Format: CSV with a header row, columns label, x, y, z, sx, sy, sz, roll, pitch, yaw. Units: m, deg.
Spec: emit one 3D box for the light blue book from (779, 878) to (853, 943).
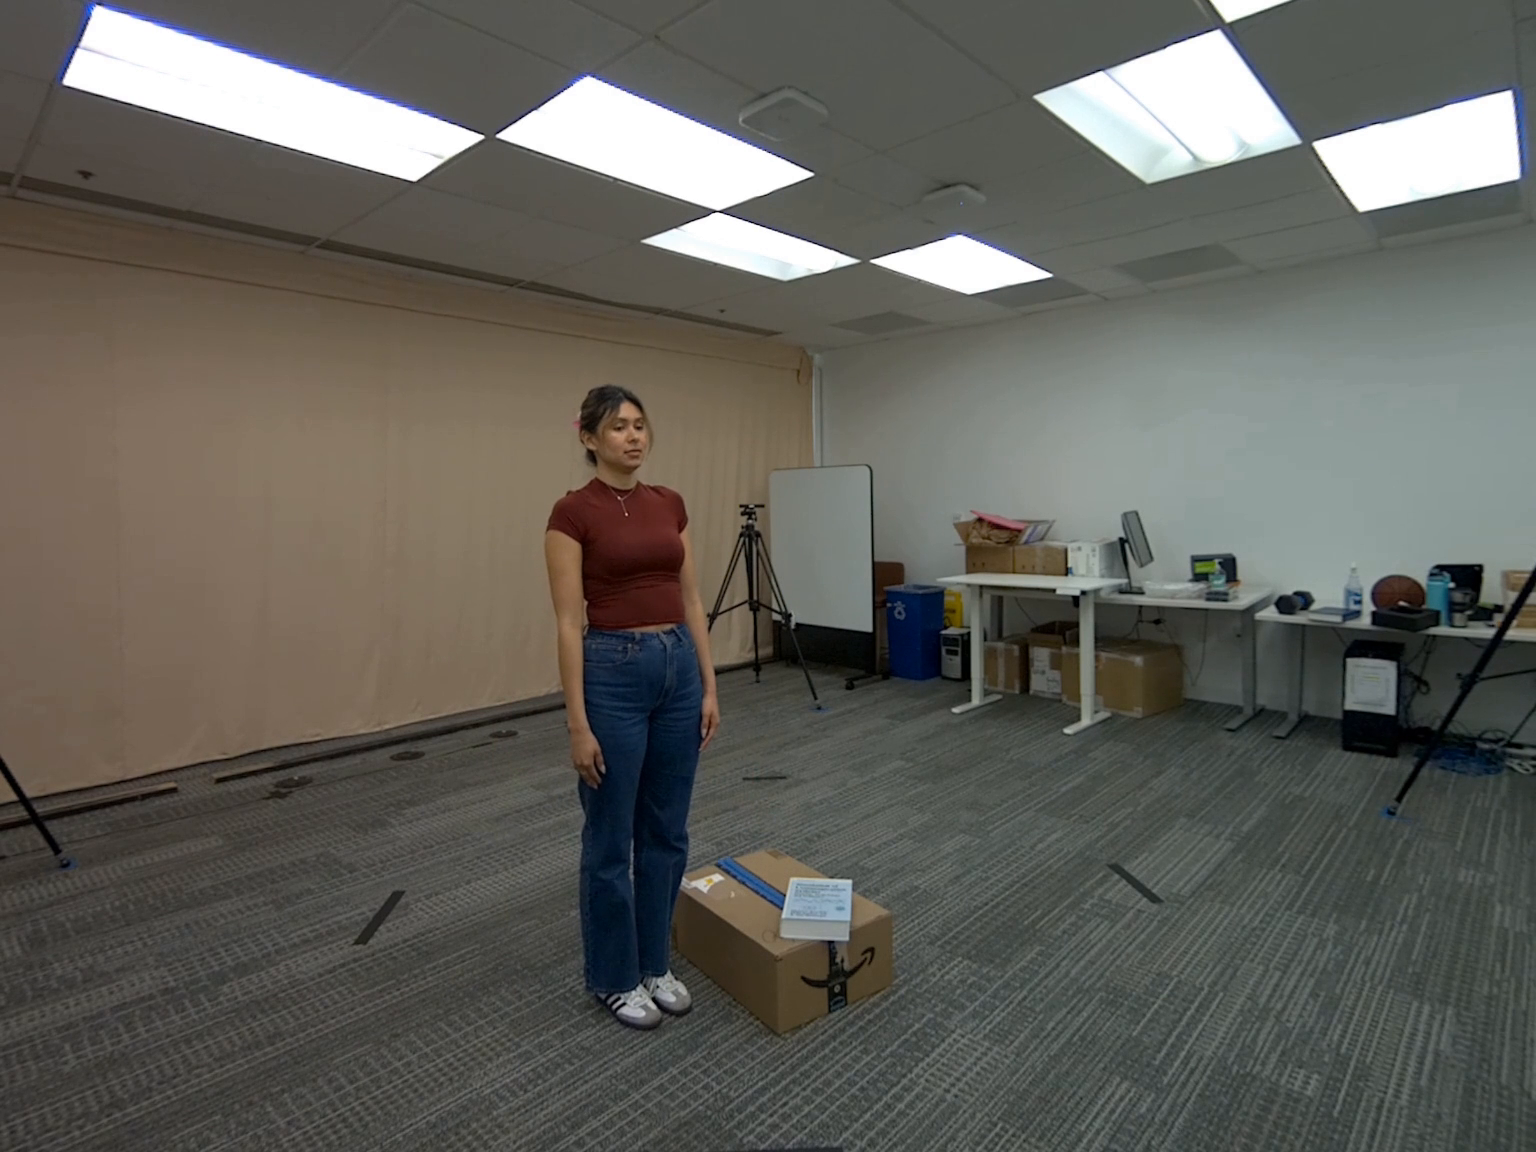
label,x,y,z,sx,sy,sz,roll,pitch,yaw
light blue book,0.151,0.946,2.395,0.193,0.059,0.259,-1,4,8
